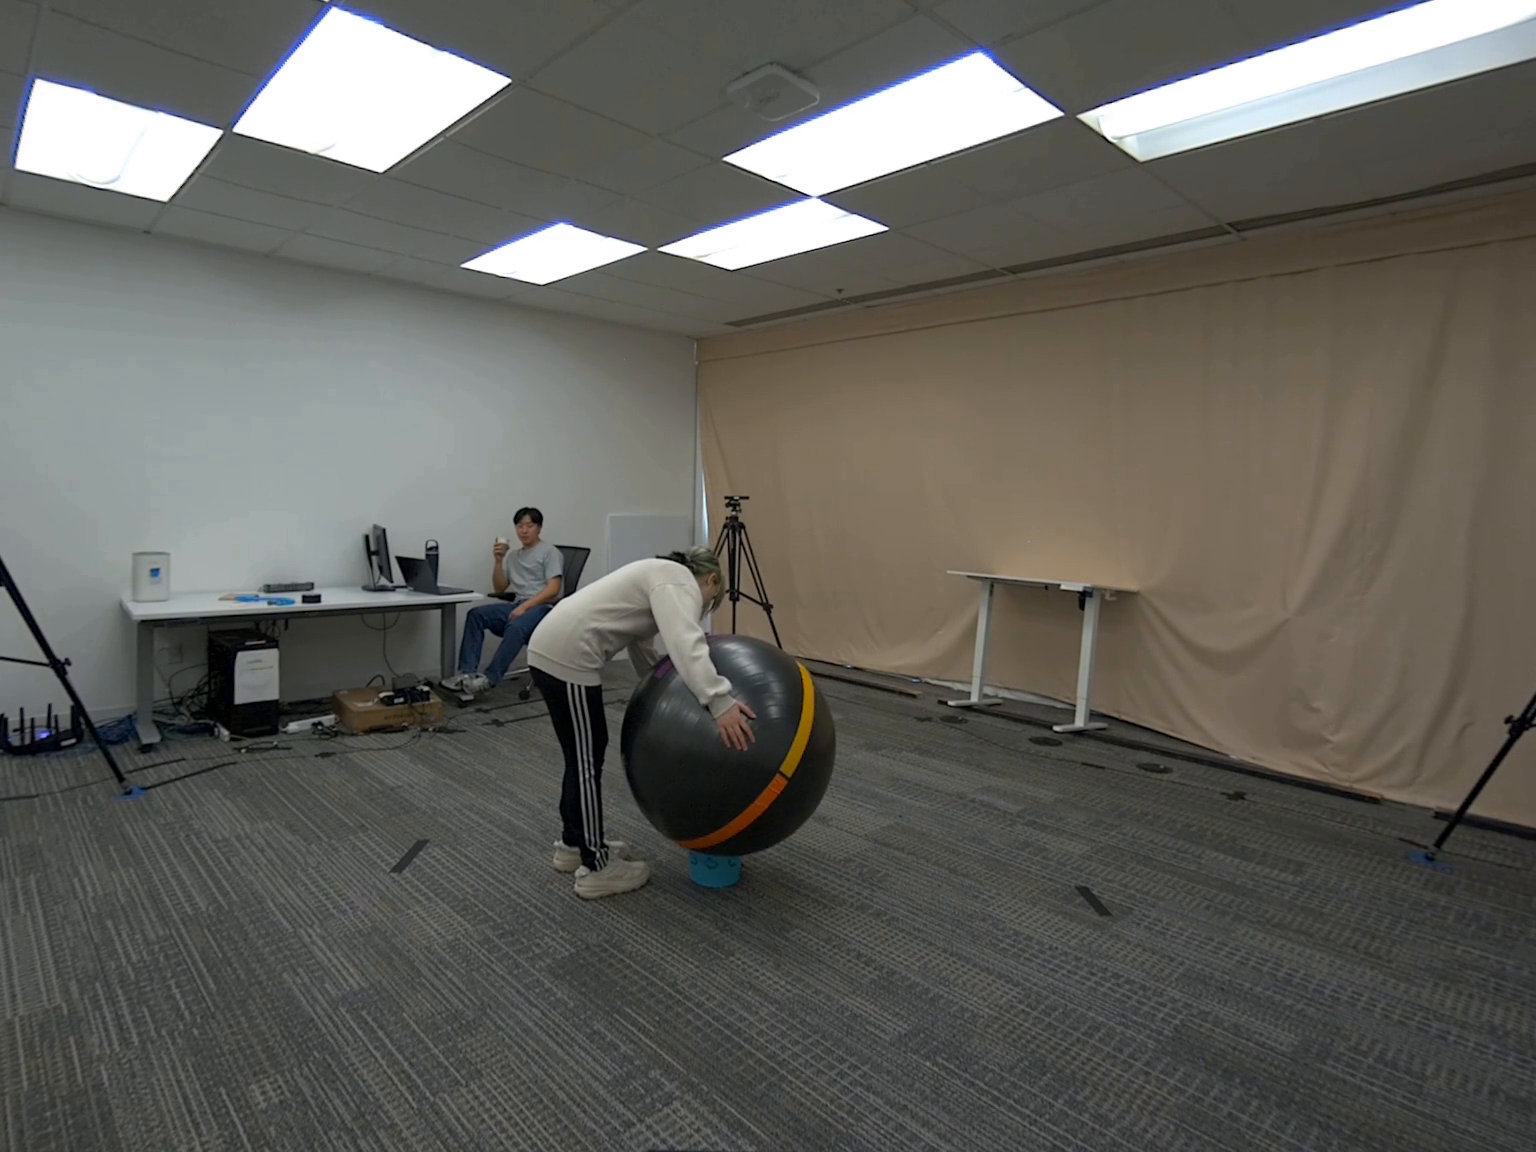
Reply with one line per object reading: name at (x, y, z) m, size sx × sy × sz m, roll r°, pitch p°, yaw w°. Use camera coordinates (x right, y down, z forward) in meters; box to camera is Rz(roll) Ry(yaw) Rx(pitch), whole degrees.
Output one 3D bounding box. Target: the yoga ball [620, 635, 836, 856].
yoga ball at (-0.146, 0.590, 2.978) m, size 0.757 × 0.756 × 0.761 m, roll 1°, pitch 4°, yaw -1°
